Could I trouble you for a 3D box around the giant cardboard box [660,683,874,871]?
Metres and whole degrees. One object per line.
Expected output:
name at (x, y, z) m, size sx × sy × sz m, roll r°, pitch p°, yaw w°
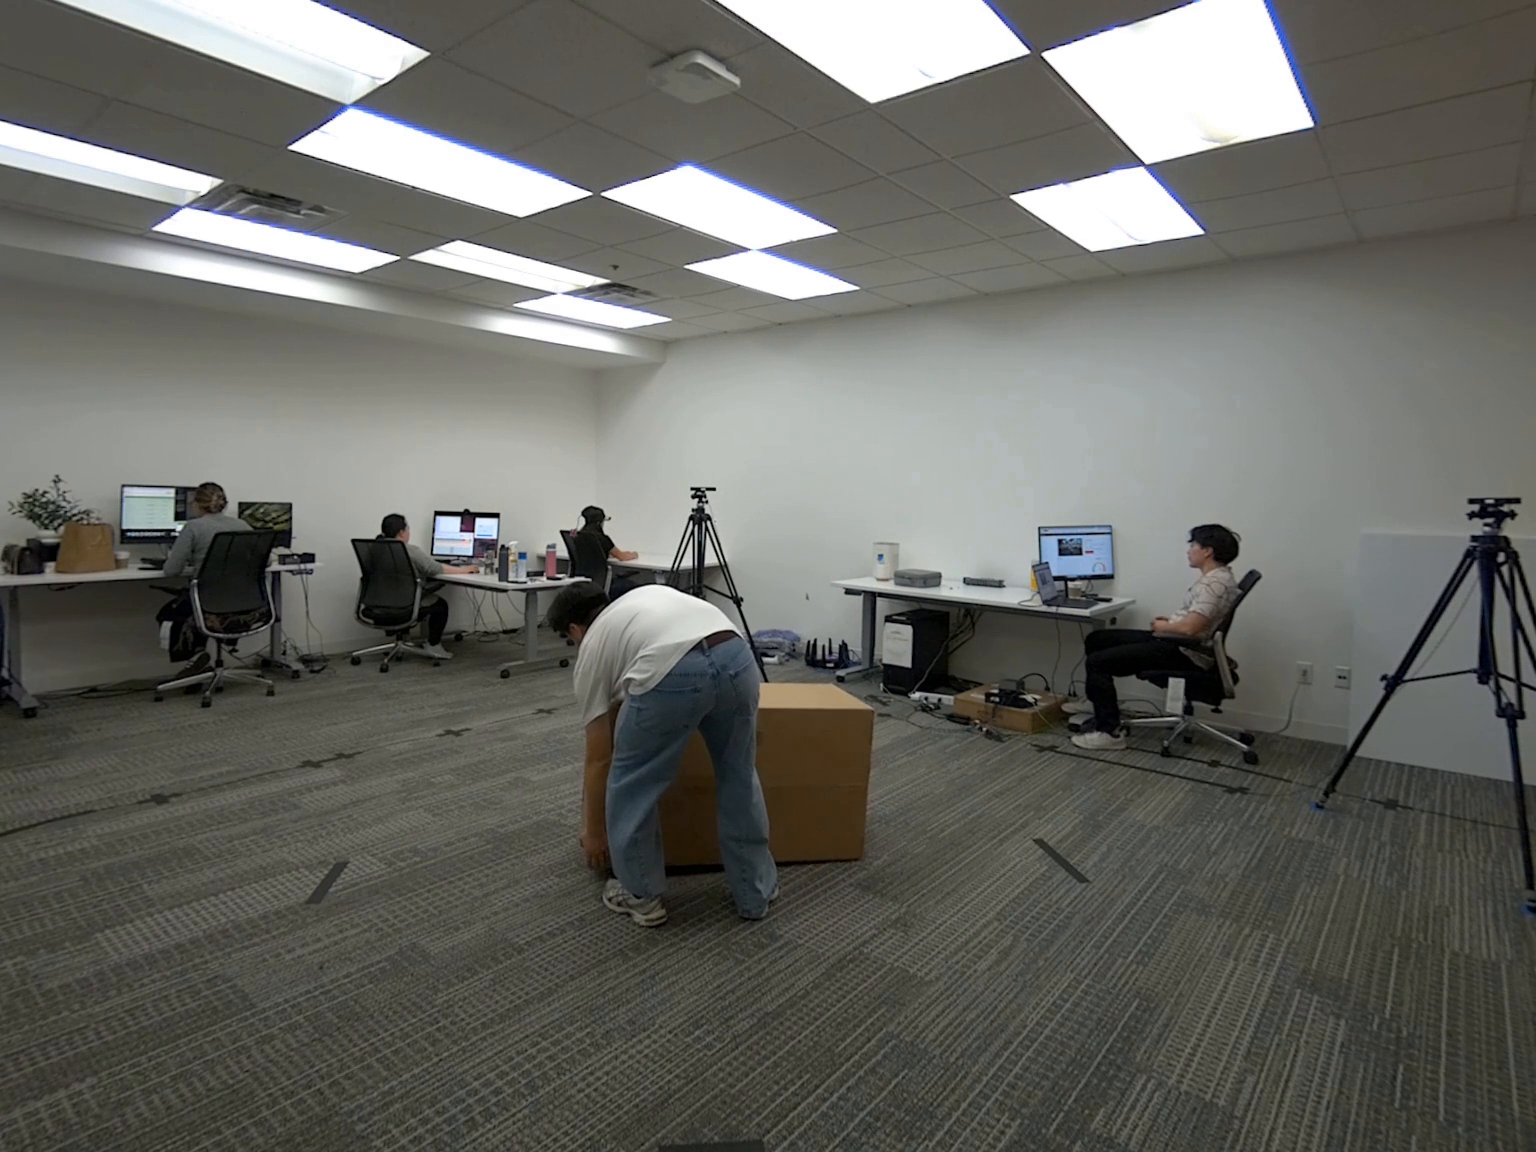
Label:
giant cardboard box at (-0.174, 0.734, 3.286) m, size 1.009 × 0.576 × 0.434 m, roll 3°, pitch 2°, yaw -15°
